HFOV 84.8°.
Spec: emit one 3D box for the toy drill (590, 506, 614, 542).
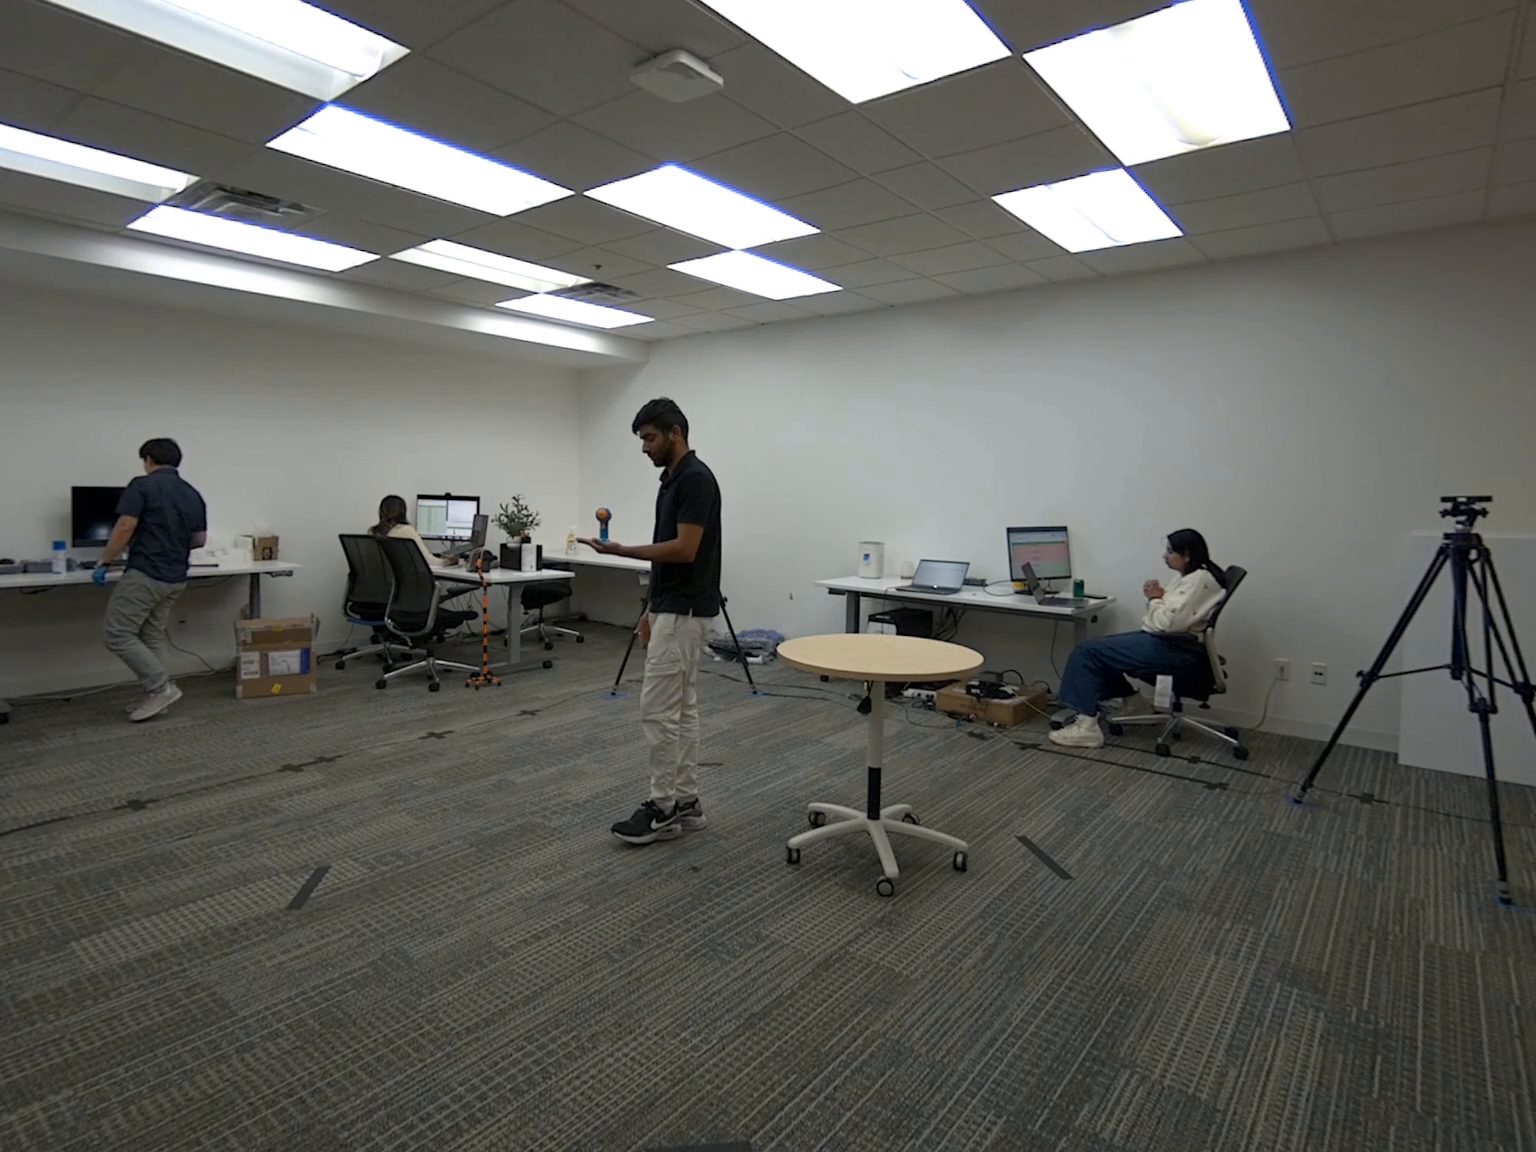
[{"bbox_3d":[-0.643,-0.196,3.256,0.061,0.146,0.171,3,2,-5],"label":"toy drill"}]
